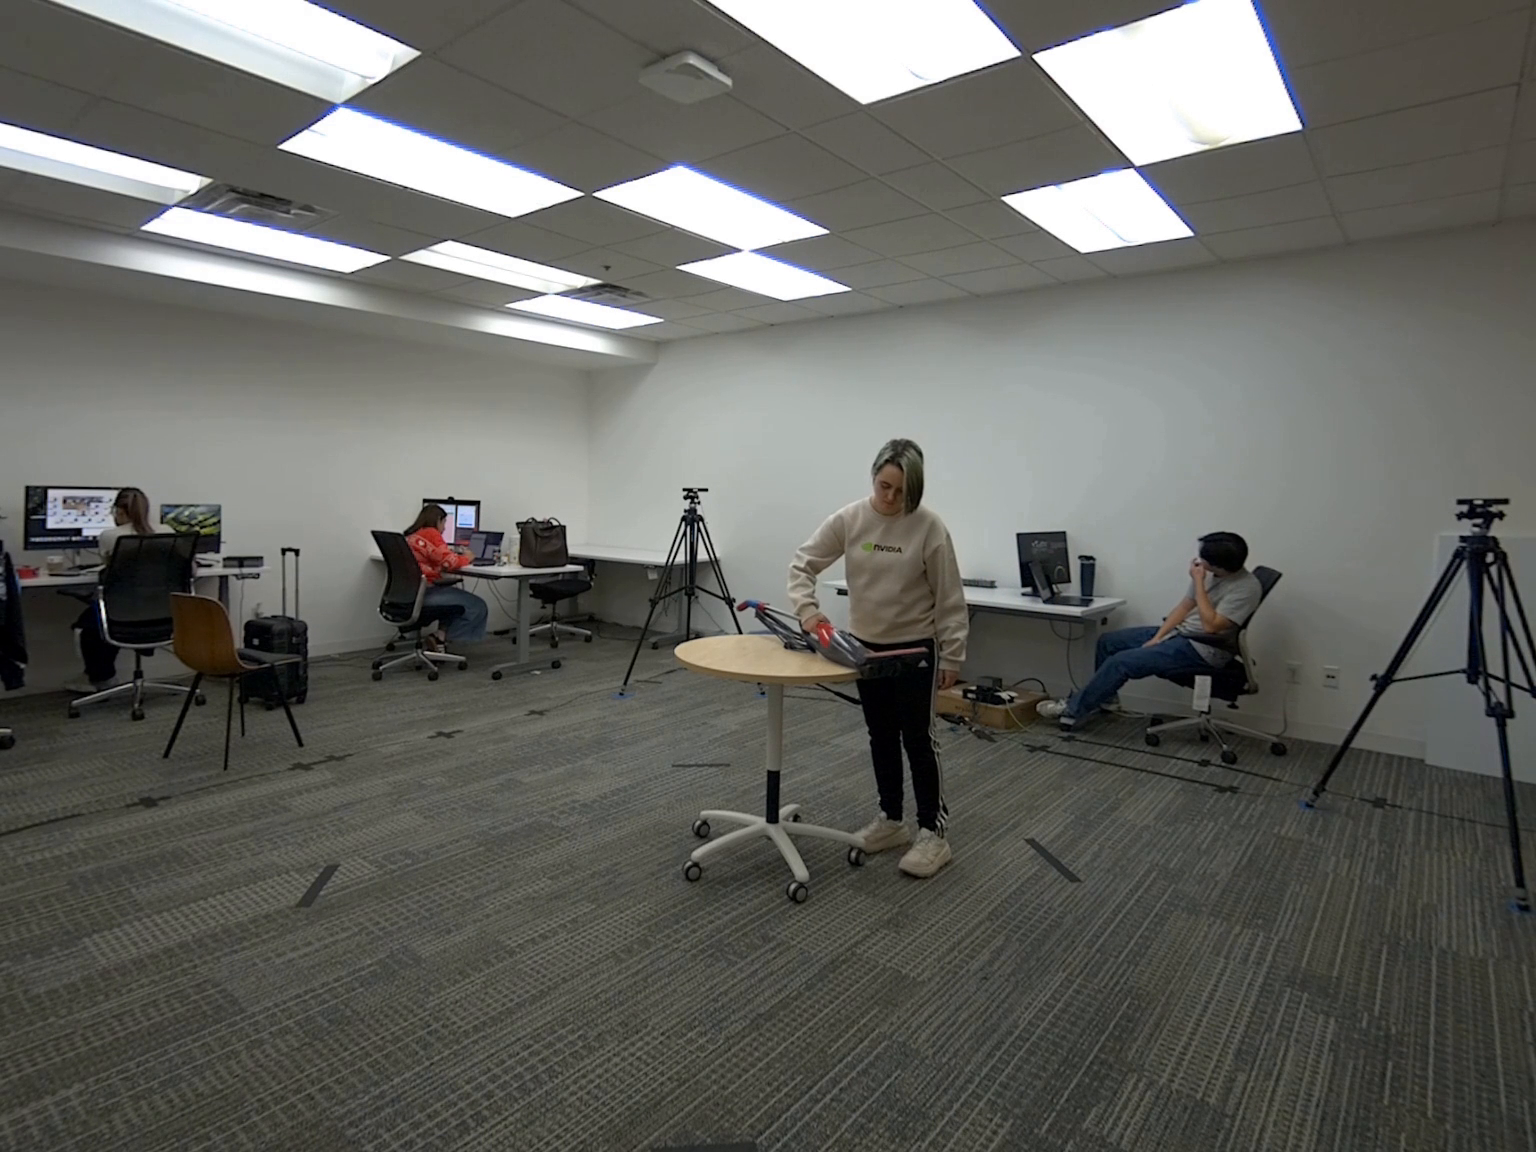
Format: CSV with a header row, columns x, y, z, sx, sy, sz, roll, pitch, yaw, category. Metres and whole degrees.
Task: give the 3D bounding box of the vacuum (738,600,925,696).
x,y,z,sx,sy,sz,roll,pitch,yaw,category
0.138,0.227,3.263,0.246,0.143,1.082,-4,9,-28,vacuum
